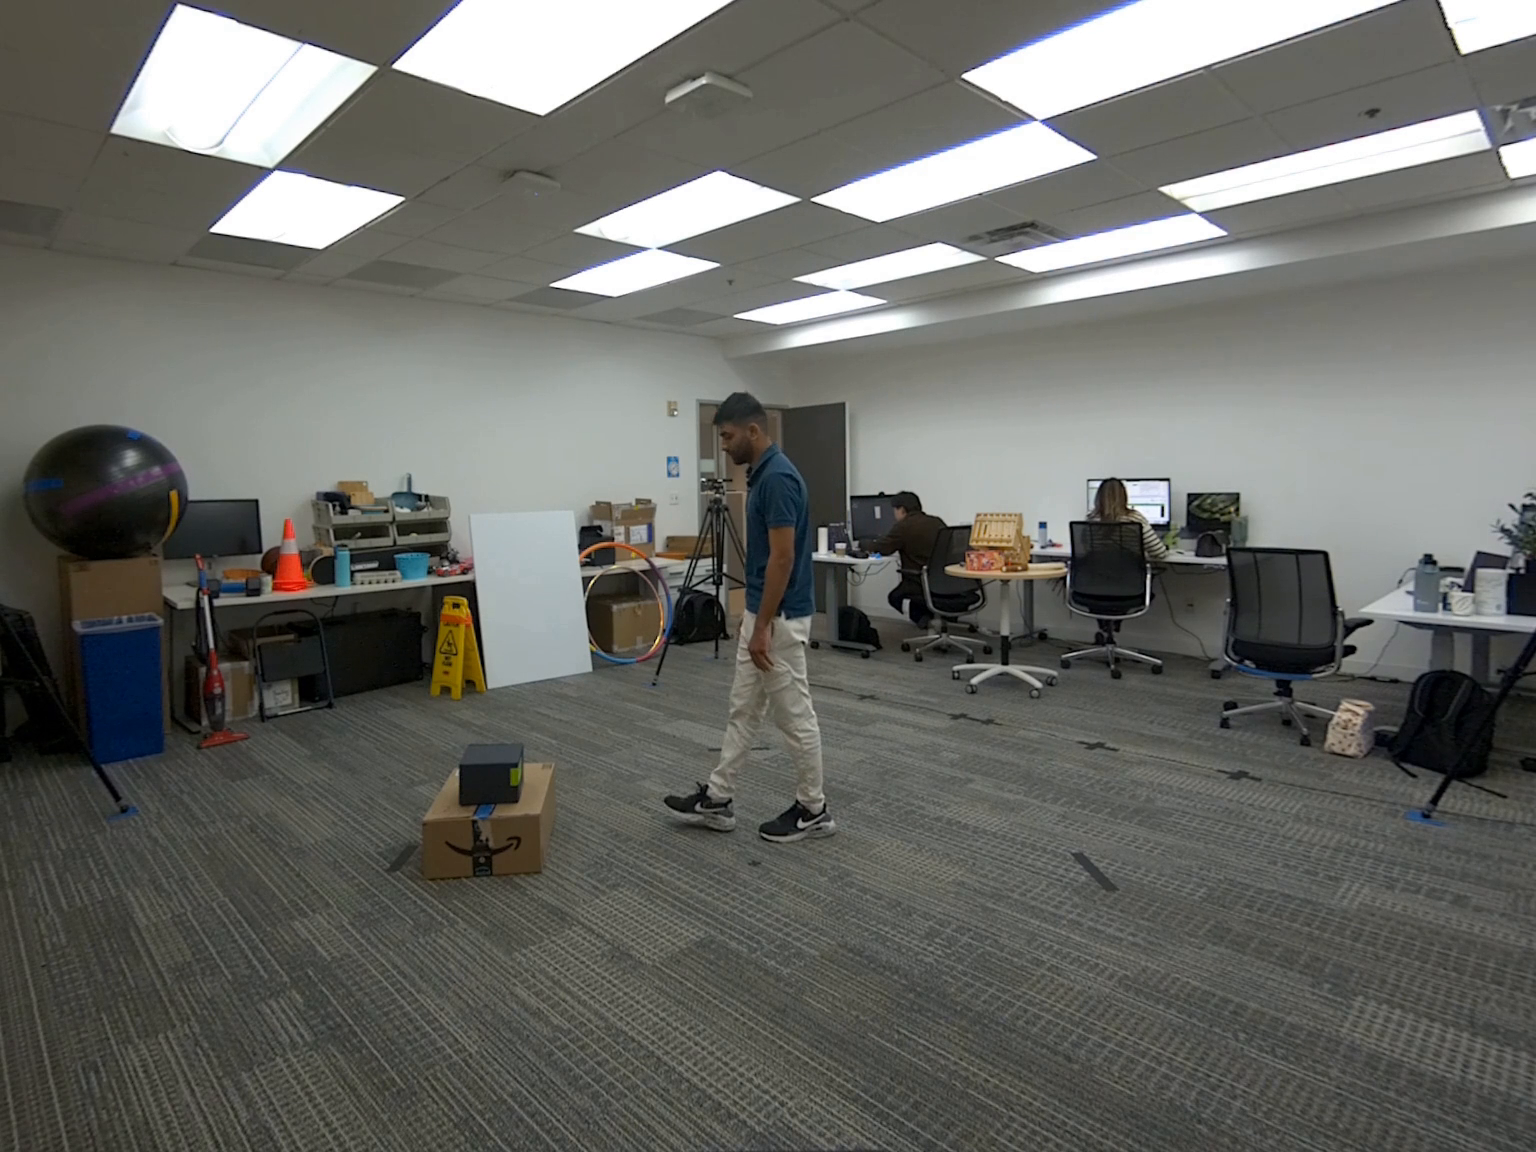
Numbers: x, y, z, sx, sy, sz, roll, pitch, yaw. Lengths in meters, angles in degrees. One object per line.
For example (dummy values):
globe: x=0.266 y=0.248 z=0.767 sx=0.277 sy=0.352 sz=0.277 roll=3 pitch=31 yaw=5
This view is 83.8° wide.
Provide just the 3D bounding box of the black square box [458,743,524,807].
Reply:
black square box: x=-1.045 y=0.746 z=3.255 sx=0.215 sy=0.155 sz=0.231 roll=-1 pitch=6 yaw=-10
